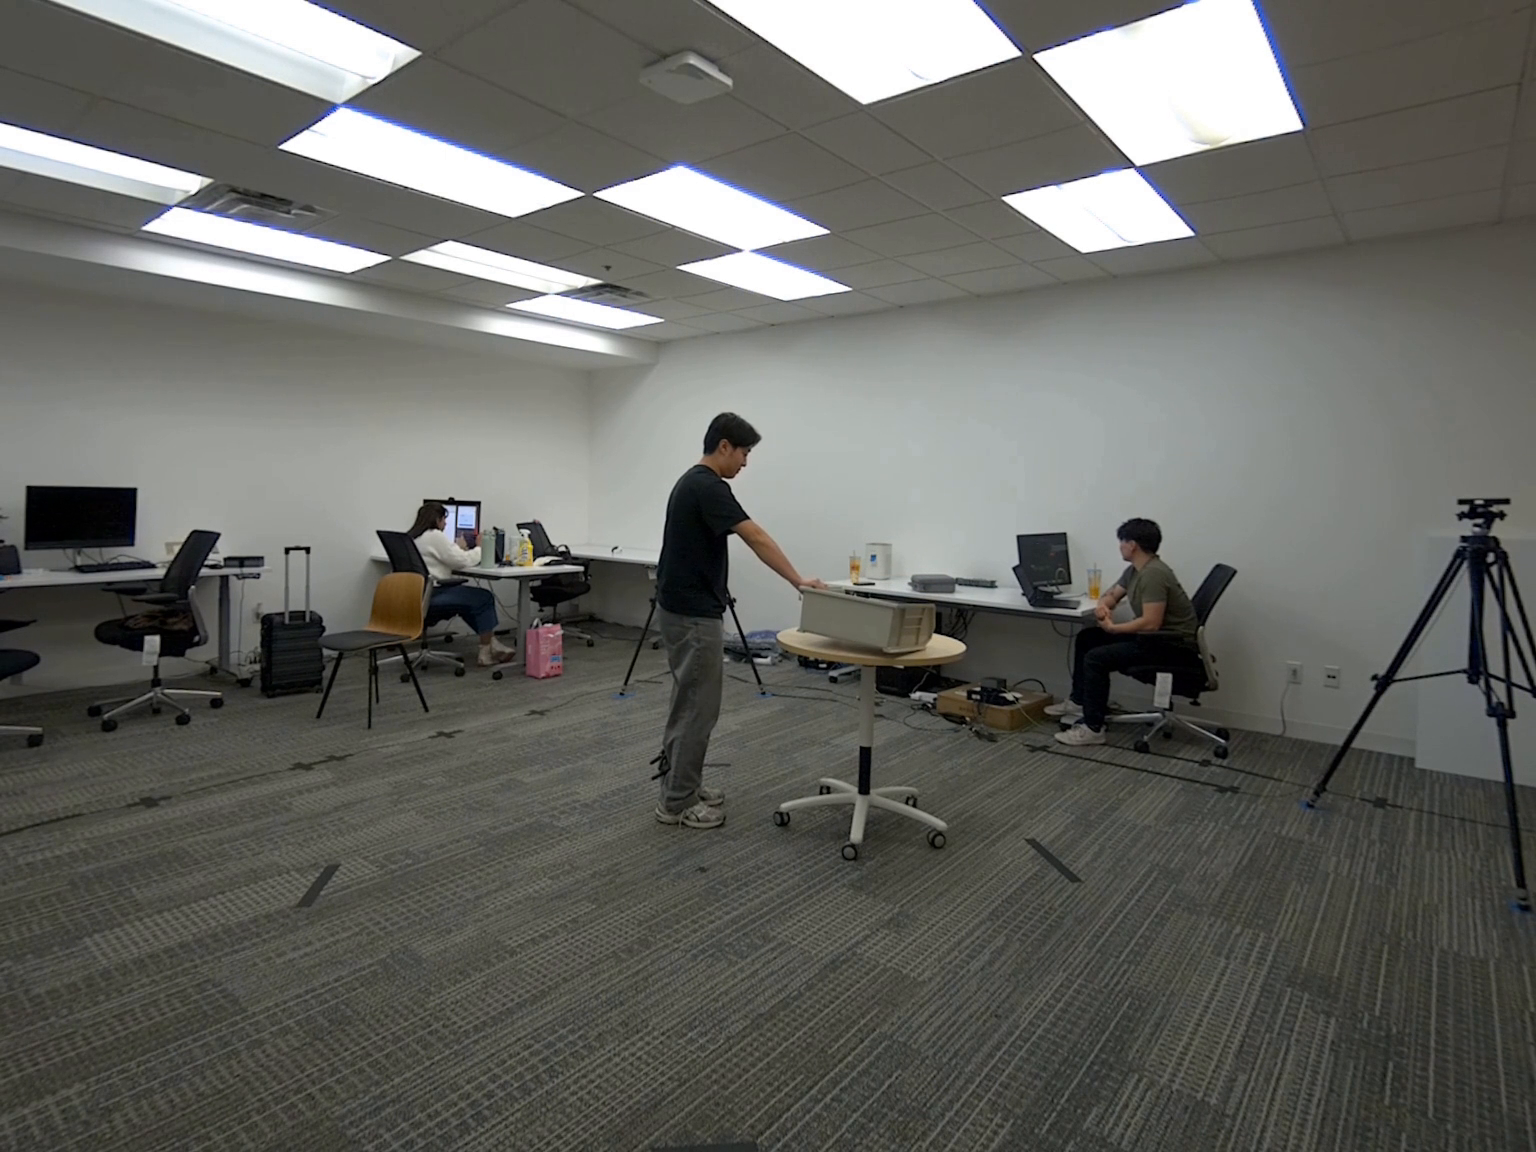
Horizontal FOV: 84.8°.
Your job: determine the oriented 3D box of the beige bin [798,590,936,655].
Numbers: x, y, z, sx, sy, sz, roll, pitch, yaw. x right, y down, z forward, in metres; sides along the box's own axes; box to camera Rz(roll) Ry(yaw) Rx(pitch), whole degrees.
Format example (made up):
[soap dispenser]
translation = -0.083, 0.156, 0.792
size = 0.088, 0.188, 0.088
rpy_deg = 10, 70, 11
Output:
[beige bin]
translation = 0.380, 0.160, 3.353
size = 0.437, 0.188, 0.365
rpy_deg = 10, 6, 36
